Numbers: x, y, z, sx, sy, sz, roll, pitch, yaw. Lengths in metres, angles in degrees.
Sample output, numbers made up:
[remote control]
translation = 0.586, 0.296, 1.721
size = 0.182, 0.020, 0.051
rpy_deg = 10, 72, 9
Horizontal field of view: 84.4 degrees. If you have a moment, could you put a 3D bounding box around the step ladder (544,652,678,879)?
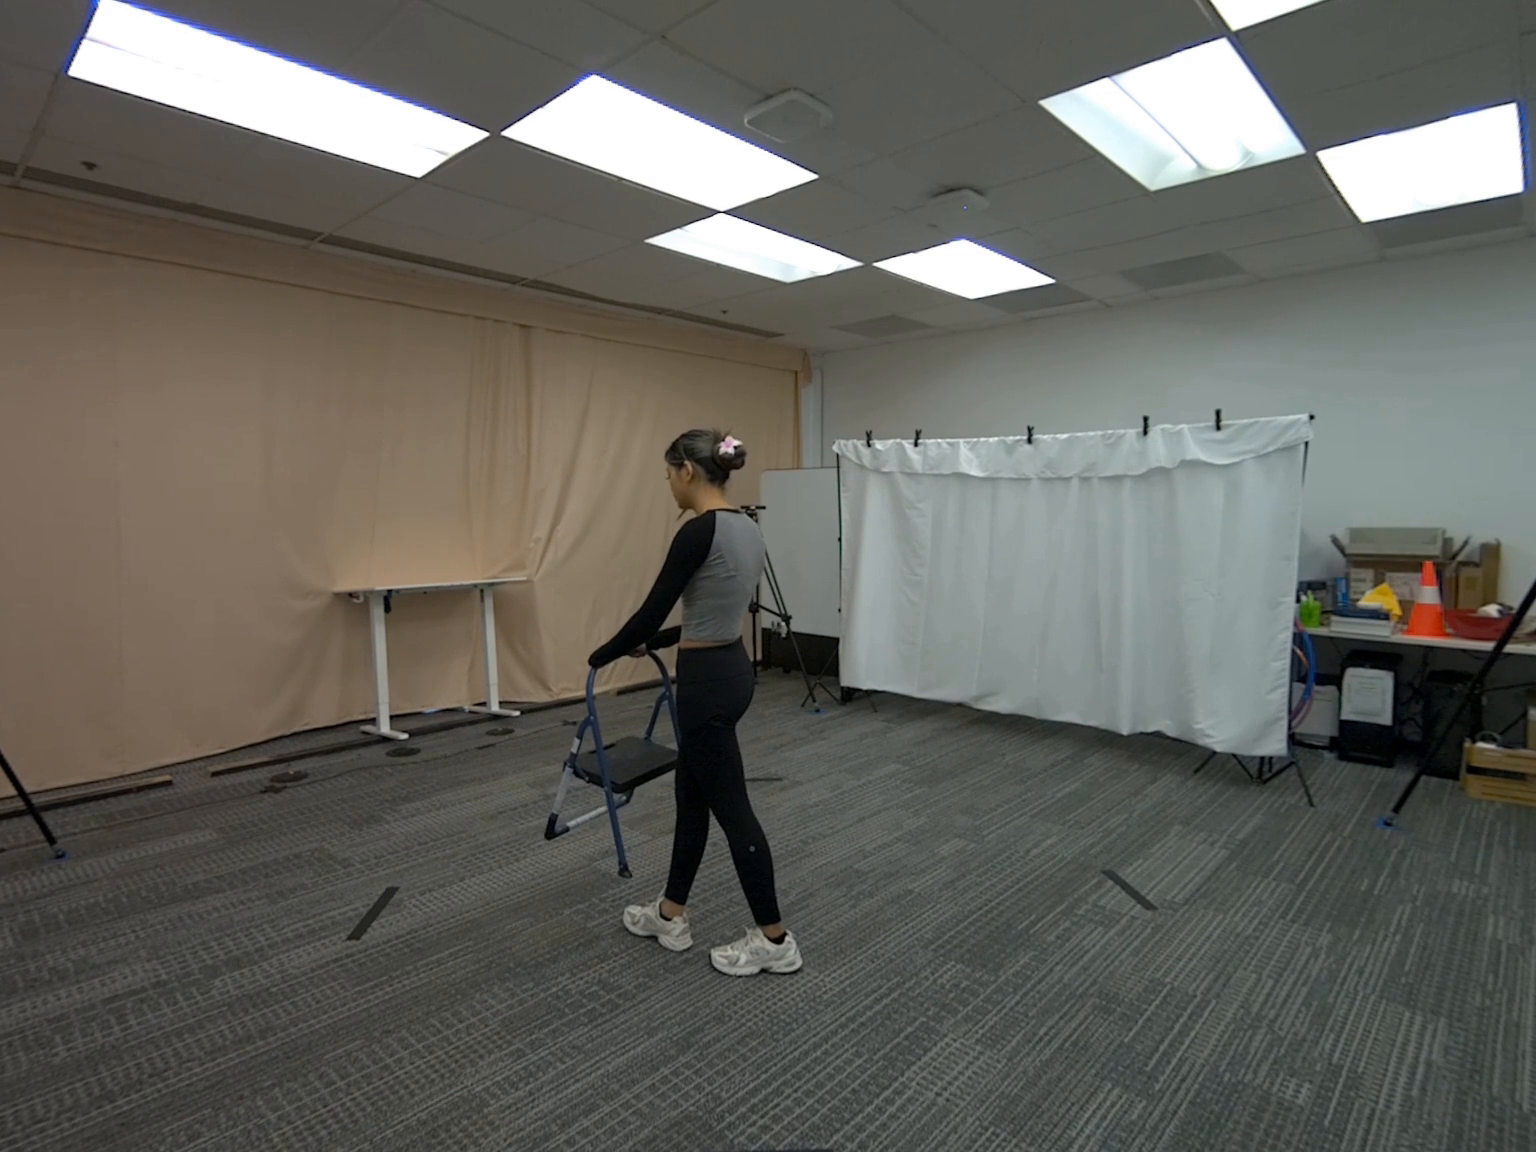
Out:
[step ladder]
translation = -0.433, 0.550, 2.715
size = 0.360, 0.604, 0.419
rpy_deg = 10, 7, 30
